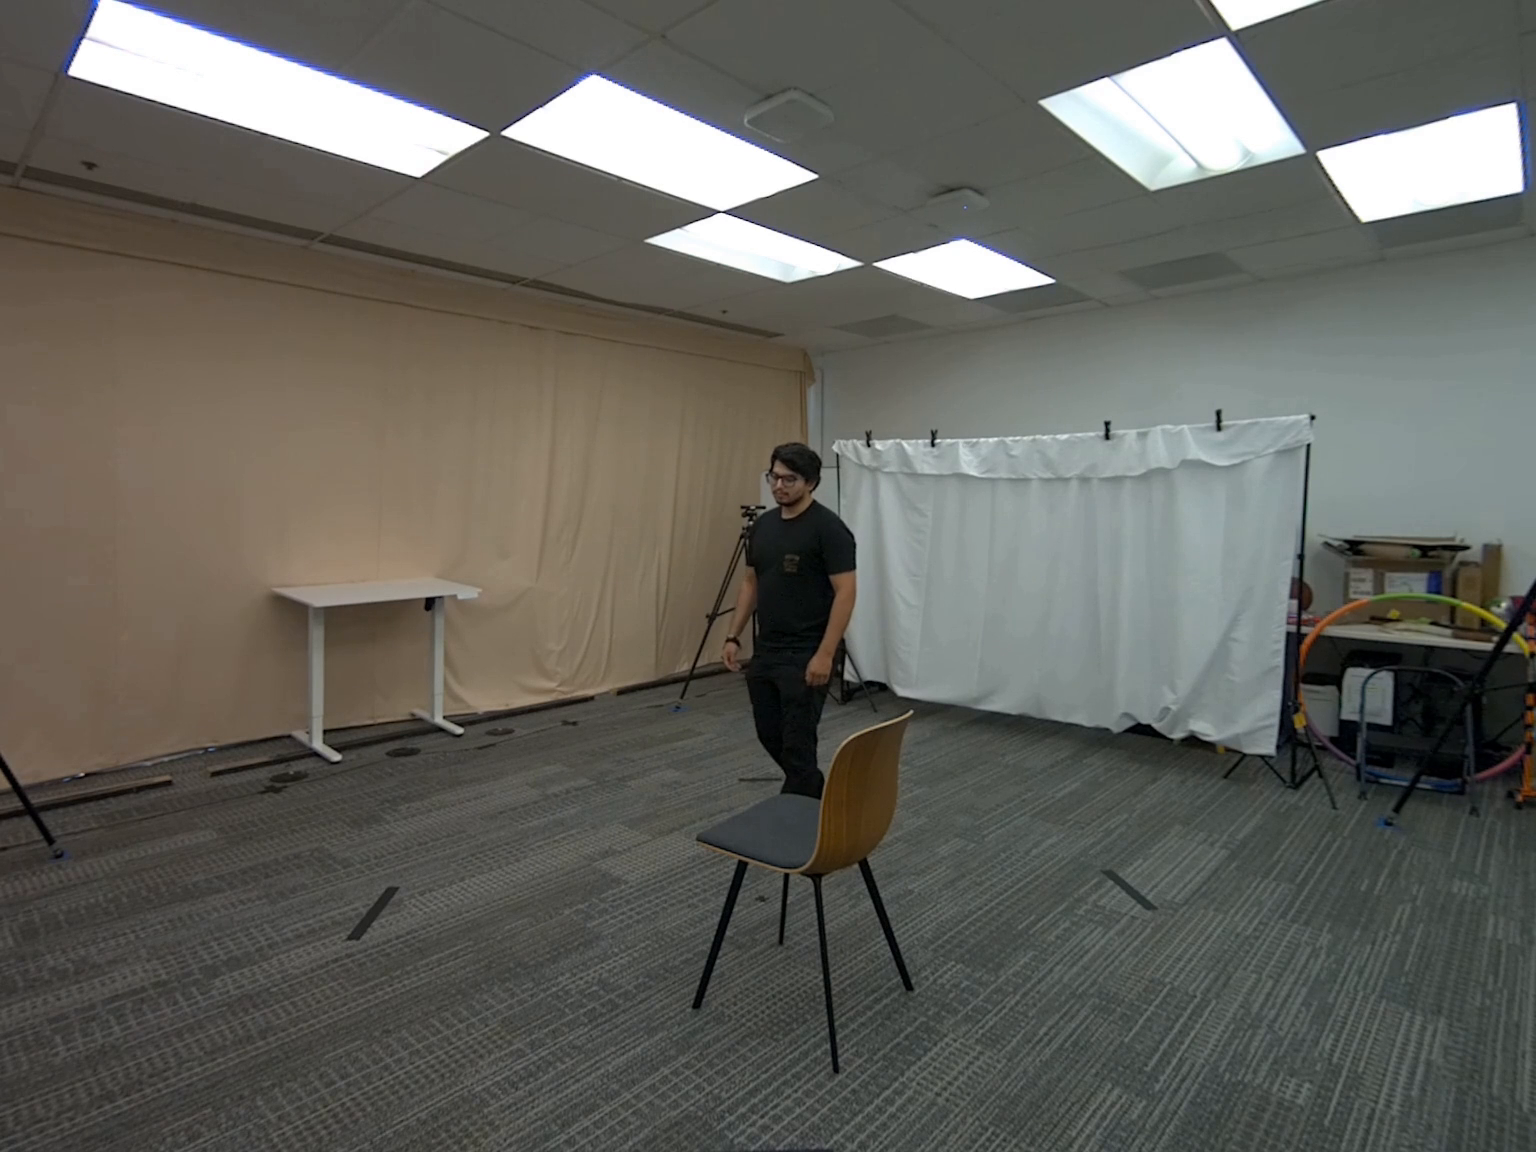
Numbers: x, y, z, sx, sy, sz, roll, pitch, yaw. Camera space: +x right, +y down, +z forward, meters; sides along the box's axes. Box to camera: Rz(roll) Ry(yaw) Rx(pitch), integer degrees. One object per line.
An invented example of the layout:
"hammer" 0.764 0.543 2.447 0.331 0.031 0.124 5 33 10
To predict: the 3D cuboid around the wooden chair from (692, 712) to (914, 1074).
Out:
"wooden chair" 0.097 0.765 2.354 0.540 0.874 0.464 7 7 35
